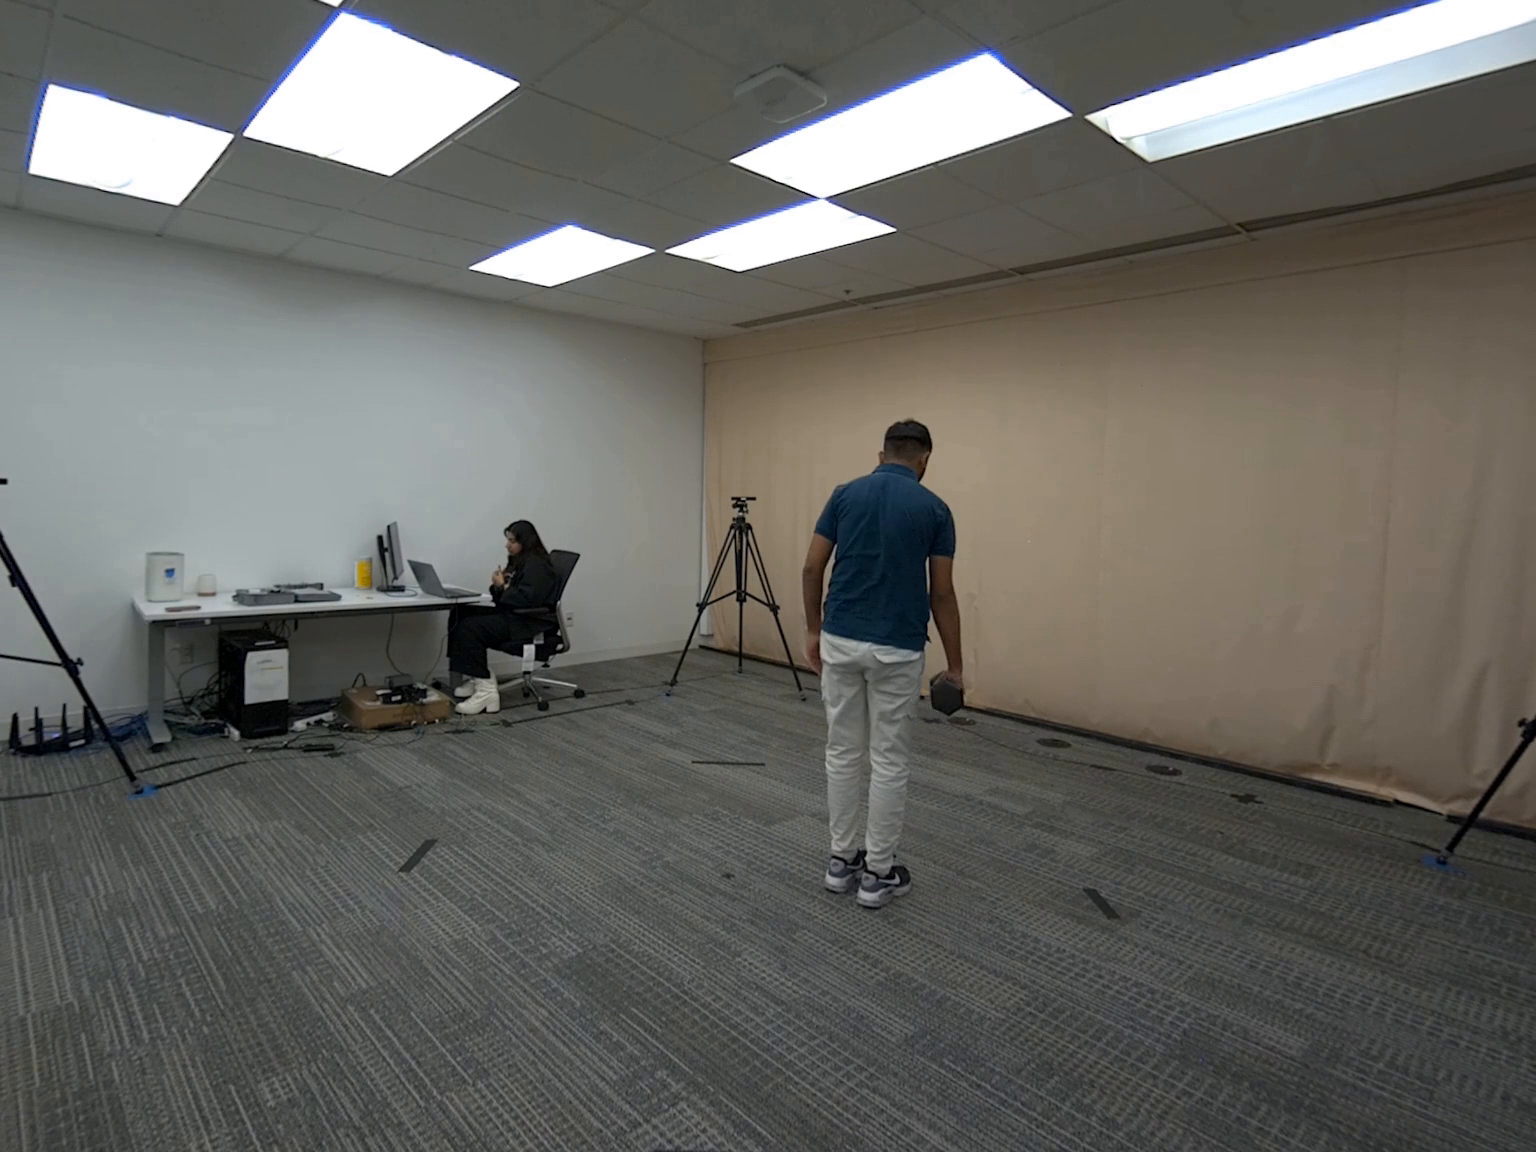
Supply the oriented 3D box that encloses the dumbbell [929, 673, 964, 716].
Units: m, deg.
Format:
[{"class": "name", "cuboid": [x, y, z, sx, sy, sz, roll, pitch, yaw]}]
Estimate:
[{"class": "dumbbell", "cuboid": [0.616, 0.420, 2.943, 0.123, 0.109, 0.291, -35, -5, 9]}]
